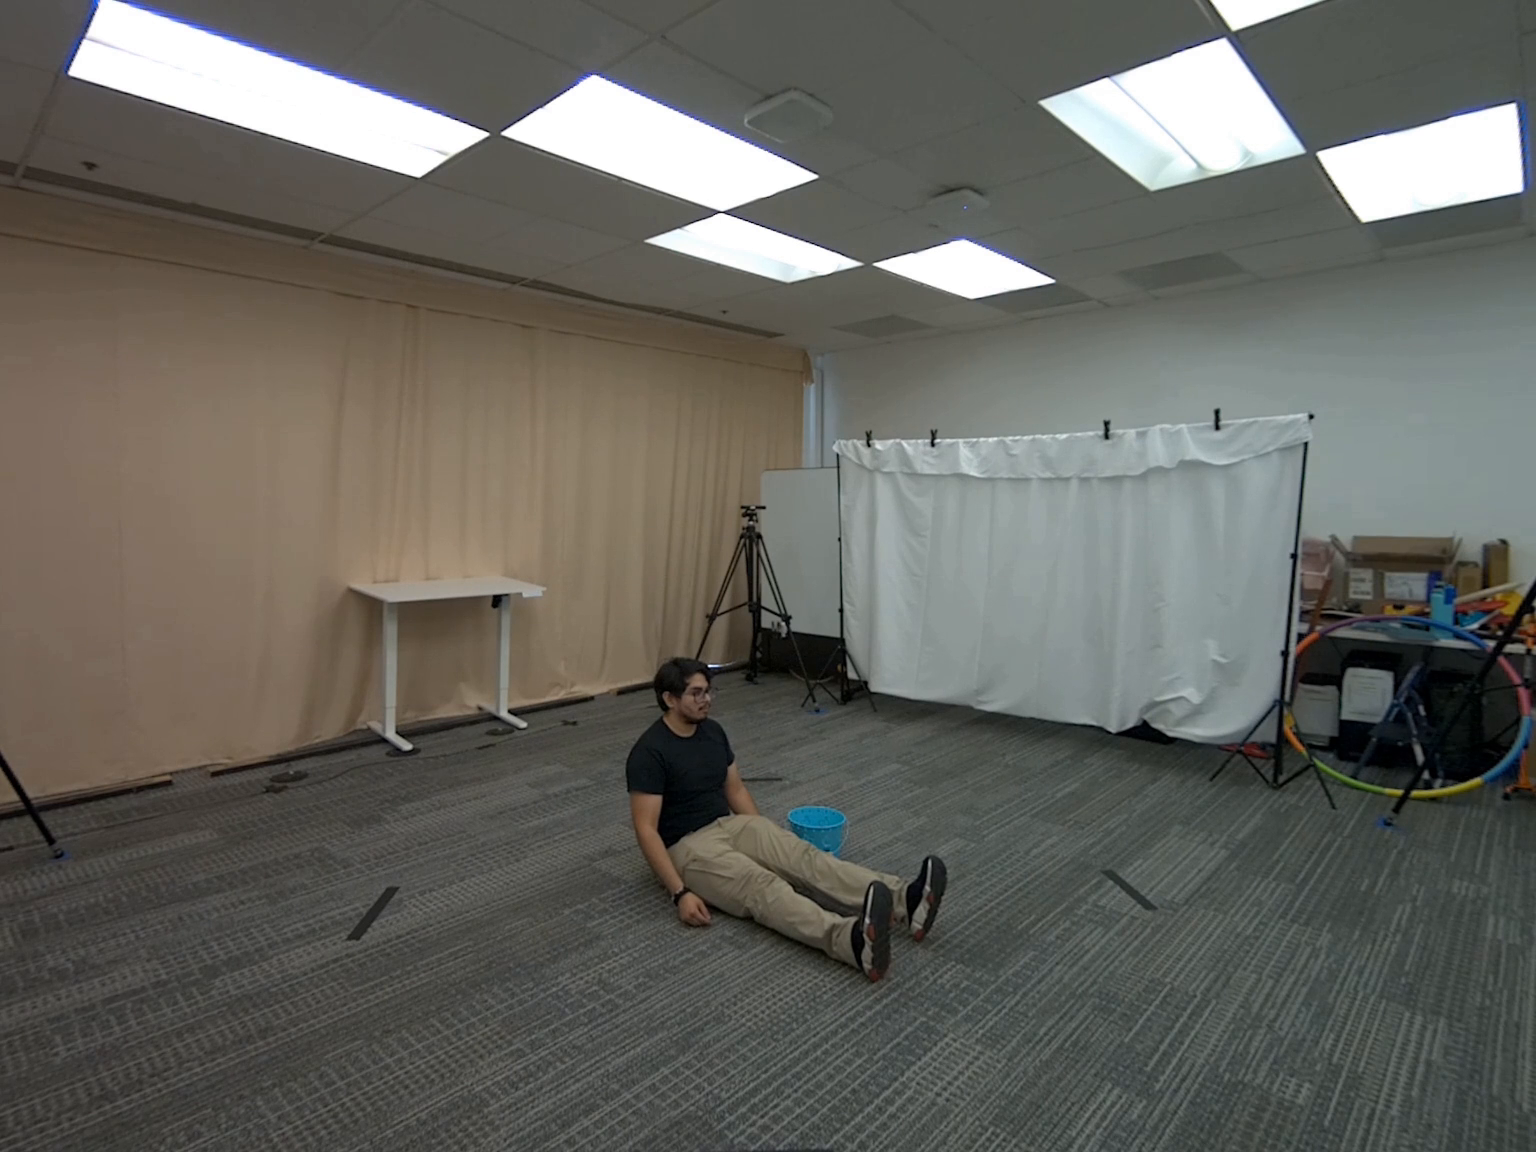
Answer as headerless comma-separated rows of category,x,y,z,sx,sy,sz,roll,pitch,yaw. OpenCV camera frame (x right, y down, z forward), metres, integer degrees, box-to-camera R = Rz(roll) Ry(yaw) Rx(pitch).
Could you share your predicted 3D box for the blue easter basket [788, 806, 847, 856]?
blue easter basket,0.193,1.033,3.347,0.243,0.155,0.244,1,3,-2
